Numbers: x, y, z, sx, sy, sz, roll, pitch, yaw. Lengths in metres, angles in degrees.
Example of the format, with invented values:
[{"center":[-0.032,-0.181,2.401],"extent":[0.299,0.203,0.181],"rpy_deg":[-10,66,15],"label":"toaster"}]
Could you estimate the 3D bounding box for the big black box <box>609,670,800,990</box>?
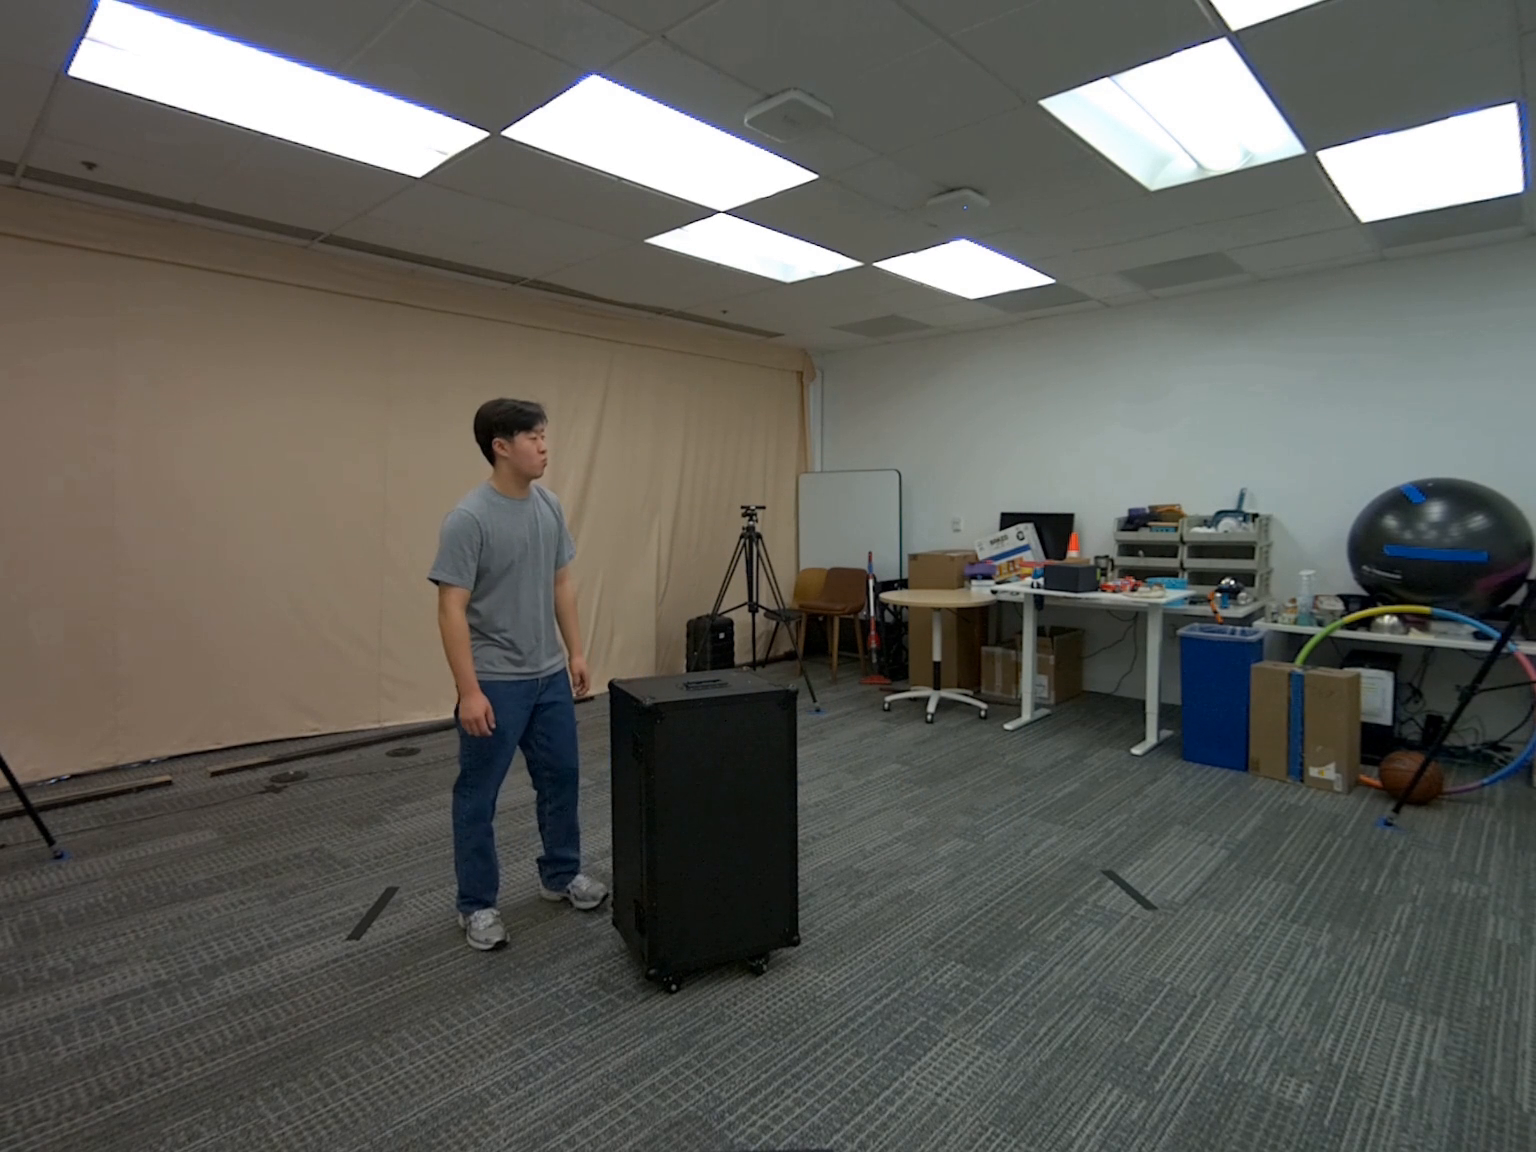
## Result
[{"center":[-0.204,0.753,2.582],"extent":[0.509,0.860,0.406],"rpy_deg":[-1,2,-24],"label":"big black box"}]
